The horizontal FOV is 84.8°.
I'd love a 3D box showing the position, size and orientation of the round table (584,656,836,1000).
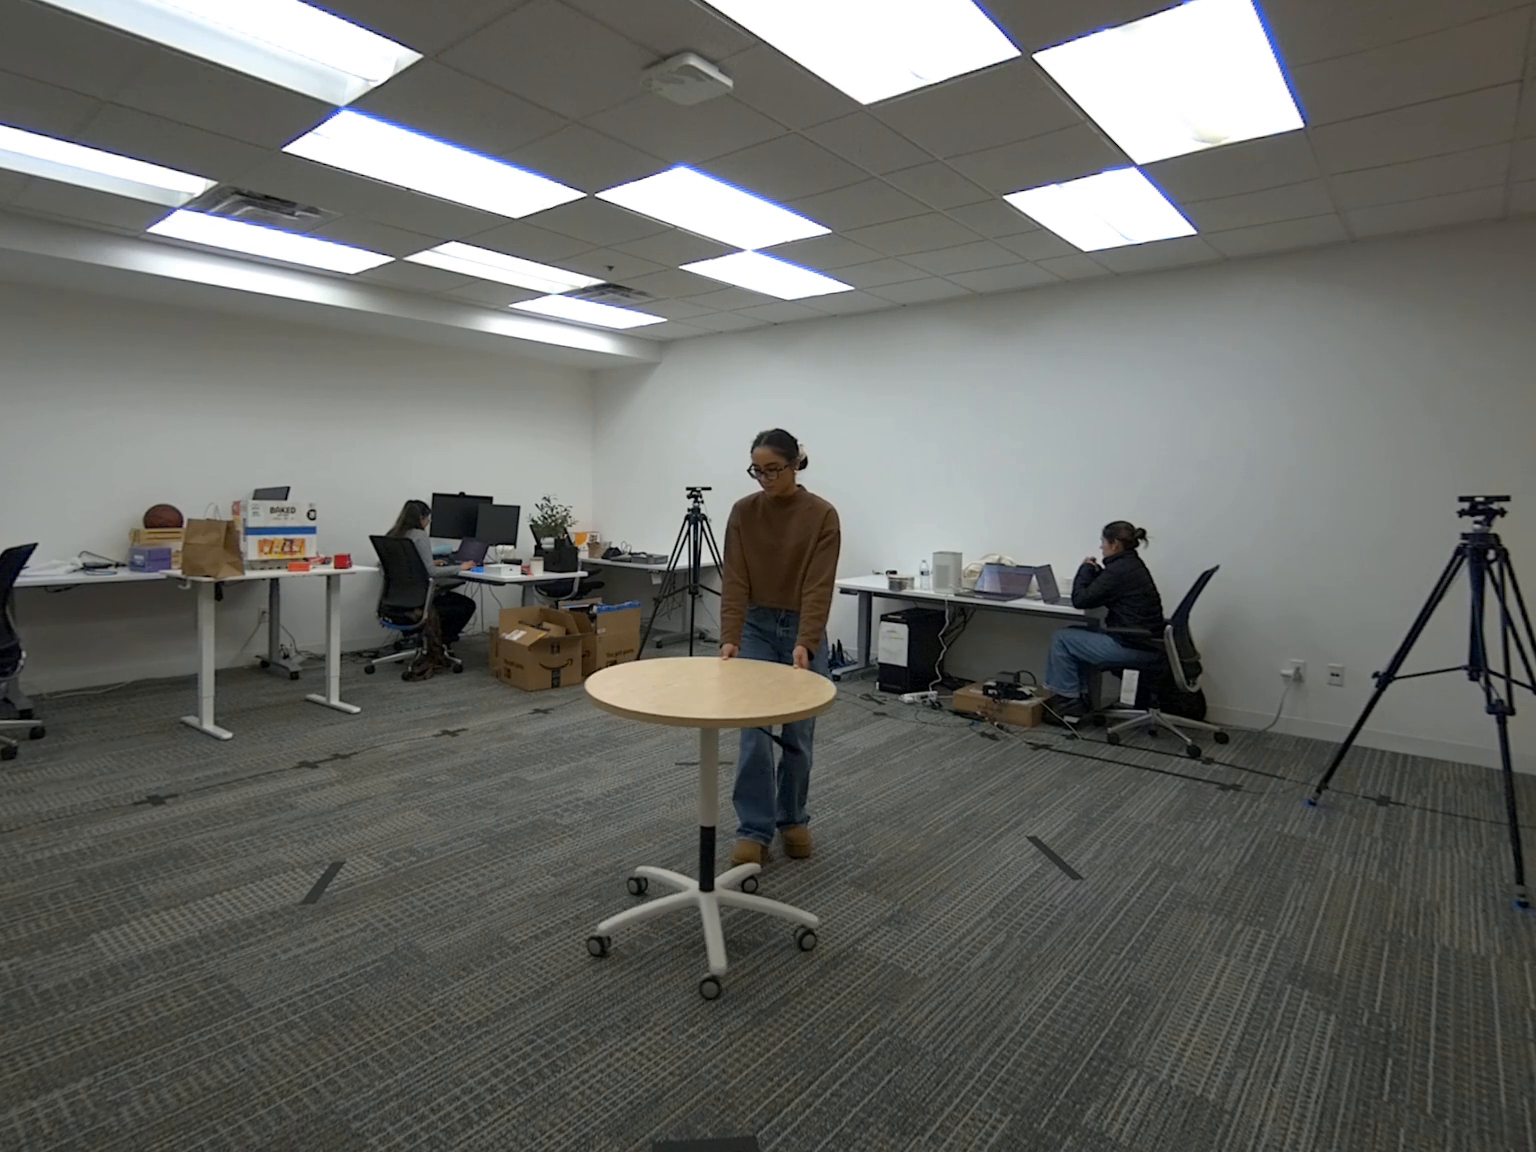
[{"bbox_3d":[-0.205,0.715,2.655,0.784,0.783,0.790,2,5,-2],"label":"round table"}]
